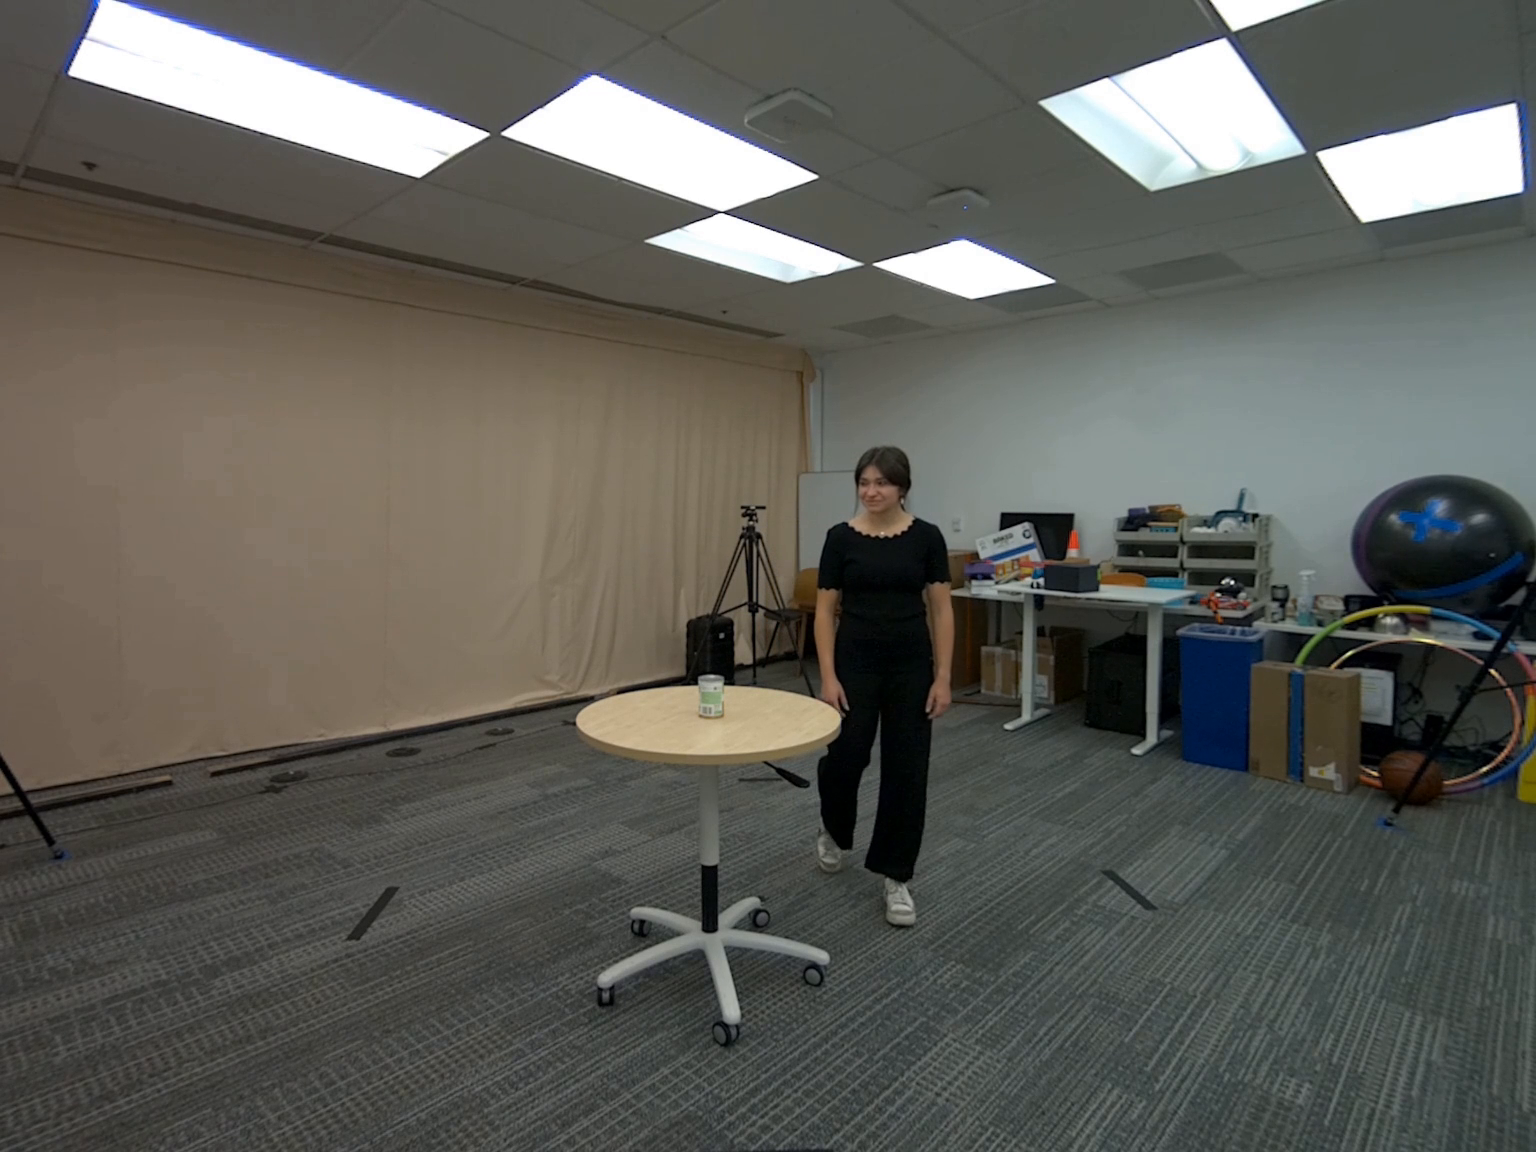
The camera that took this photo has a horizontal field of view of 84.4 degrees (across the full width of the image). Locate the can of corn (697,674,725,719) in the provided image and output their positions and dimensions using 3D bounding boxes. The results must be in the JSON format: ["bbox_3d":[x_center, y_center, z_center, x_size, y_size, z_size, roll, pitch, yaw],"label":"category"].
[{"bbox_3d":[-0.162,0.352,2.432,0.074,0.111,0.074,-2,4,-2],"label":"can of corn"}]
